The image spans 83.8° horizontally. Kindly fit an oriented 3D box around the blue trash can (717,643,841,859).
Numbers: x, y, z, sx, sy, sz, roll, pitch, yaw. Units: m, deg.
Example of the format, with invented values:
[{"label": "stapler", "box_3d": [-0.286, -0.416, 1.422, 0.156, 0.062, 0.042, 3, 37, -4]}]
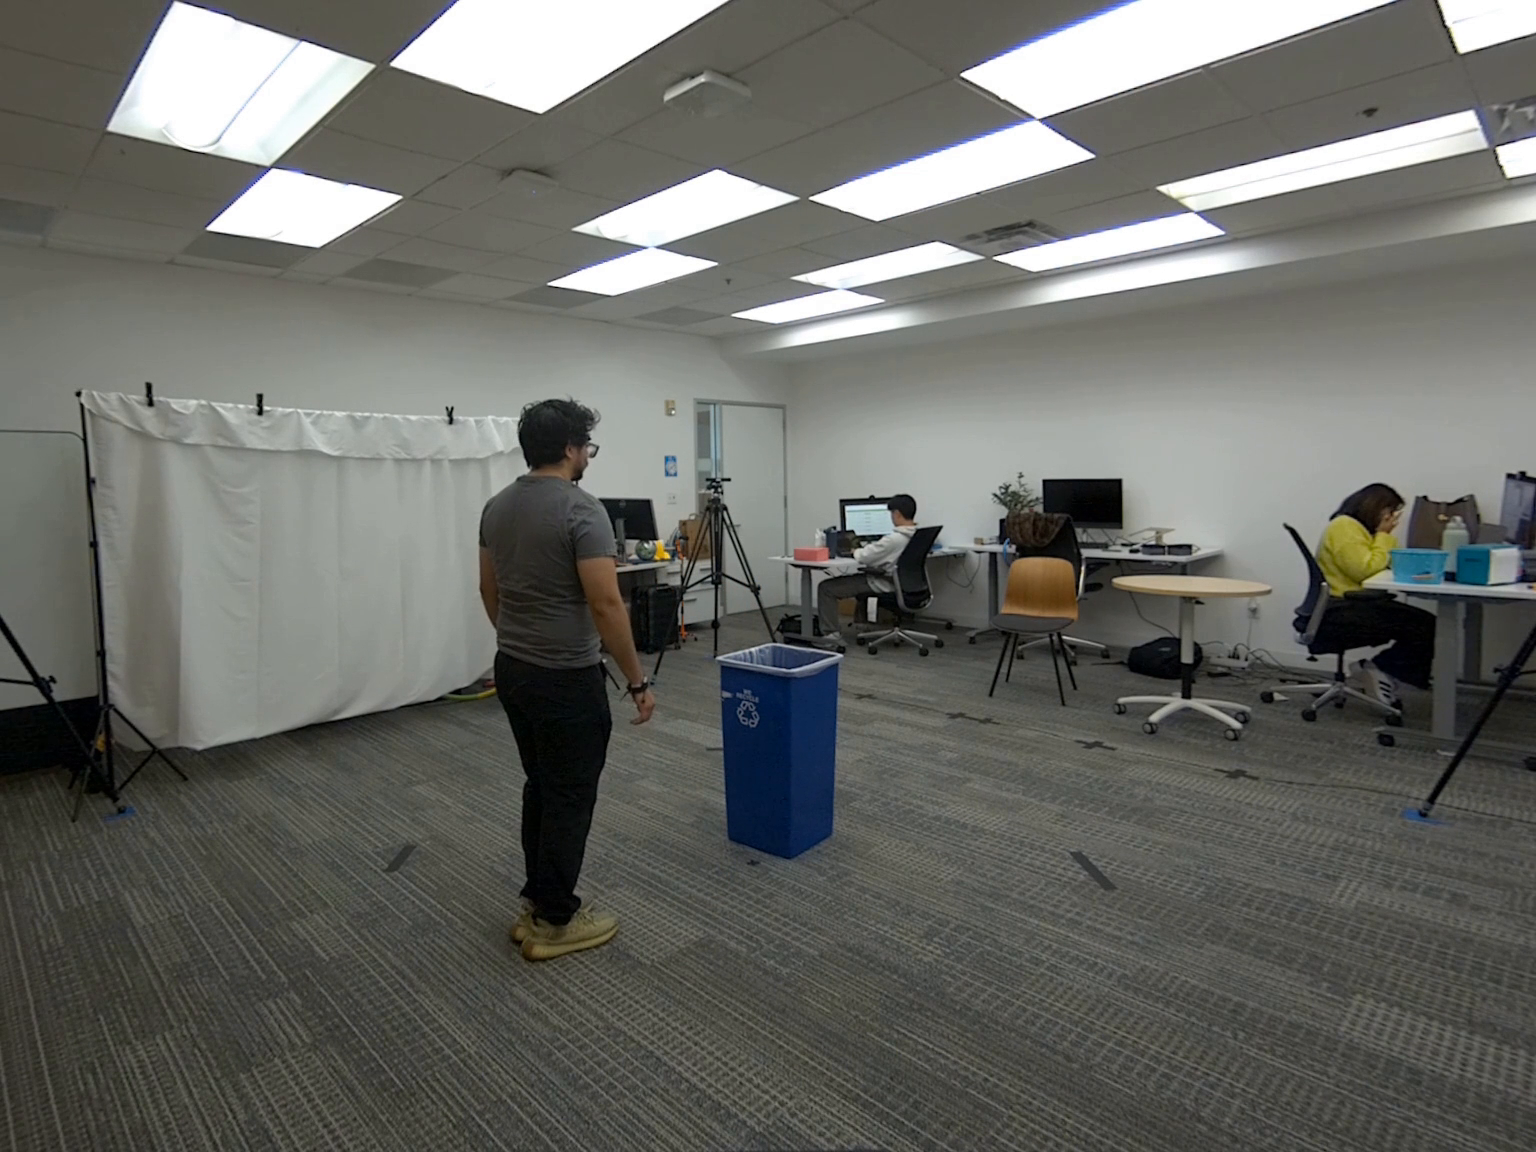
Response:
[{"label": "blue trash can", "box_3d": [0.056, 0.659, 3.303, 0.385, 0.711, 0.368, 3, 5, 39]}]
